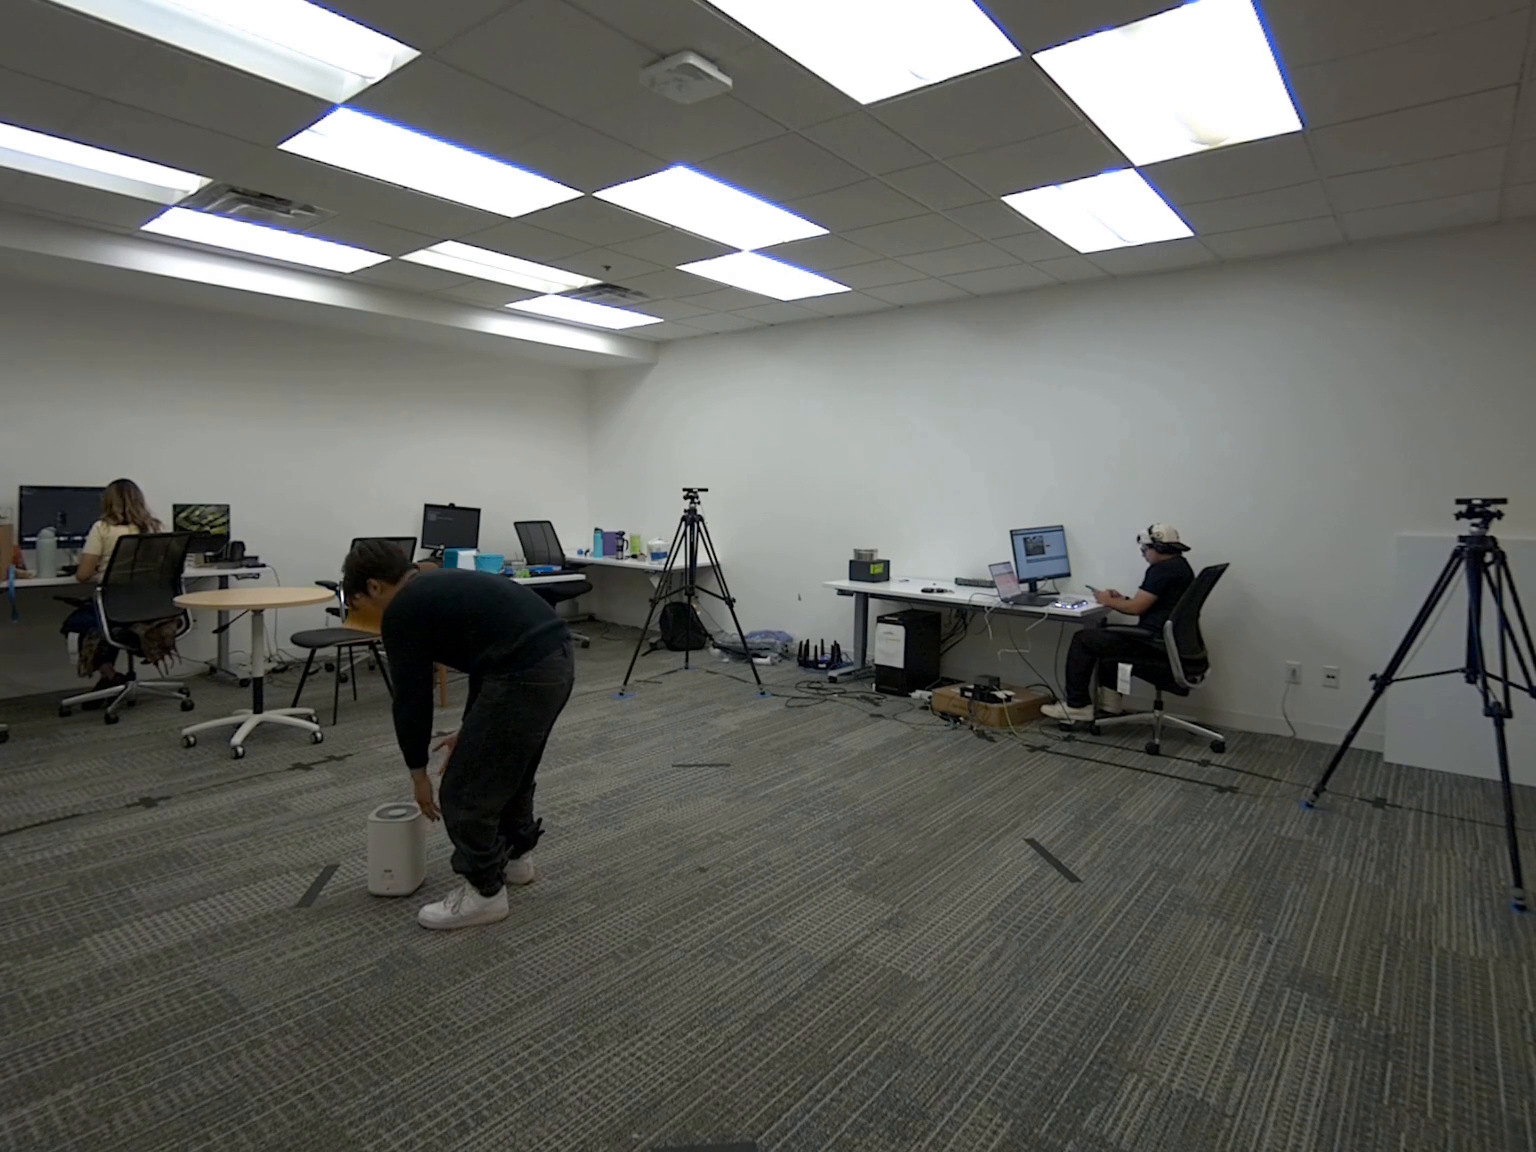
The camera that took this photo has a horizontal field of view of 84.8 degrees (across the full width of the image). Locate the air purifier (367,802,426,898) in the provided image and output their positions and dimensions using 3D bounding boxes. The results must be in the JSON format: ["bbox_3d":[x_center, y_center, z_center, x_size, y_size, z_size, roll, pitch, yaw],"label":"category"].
[{"bbox_3d":[-1.311,0.955,2.946,0.171,0.264,0.172,0,4,-1],"label":"air purifier"}]
